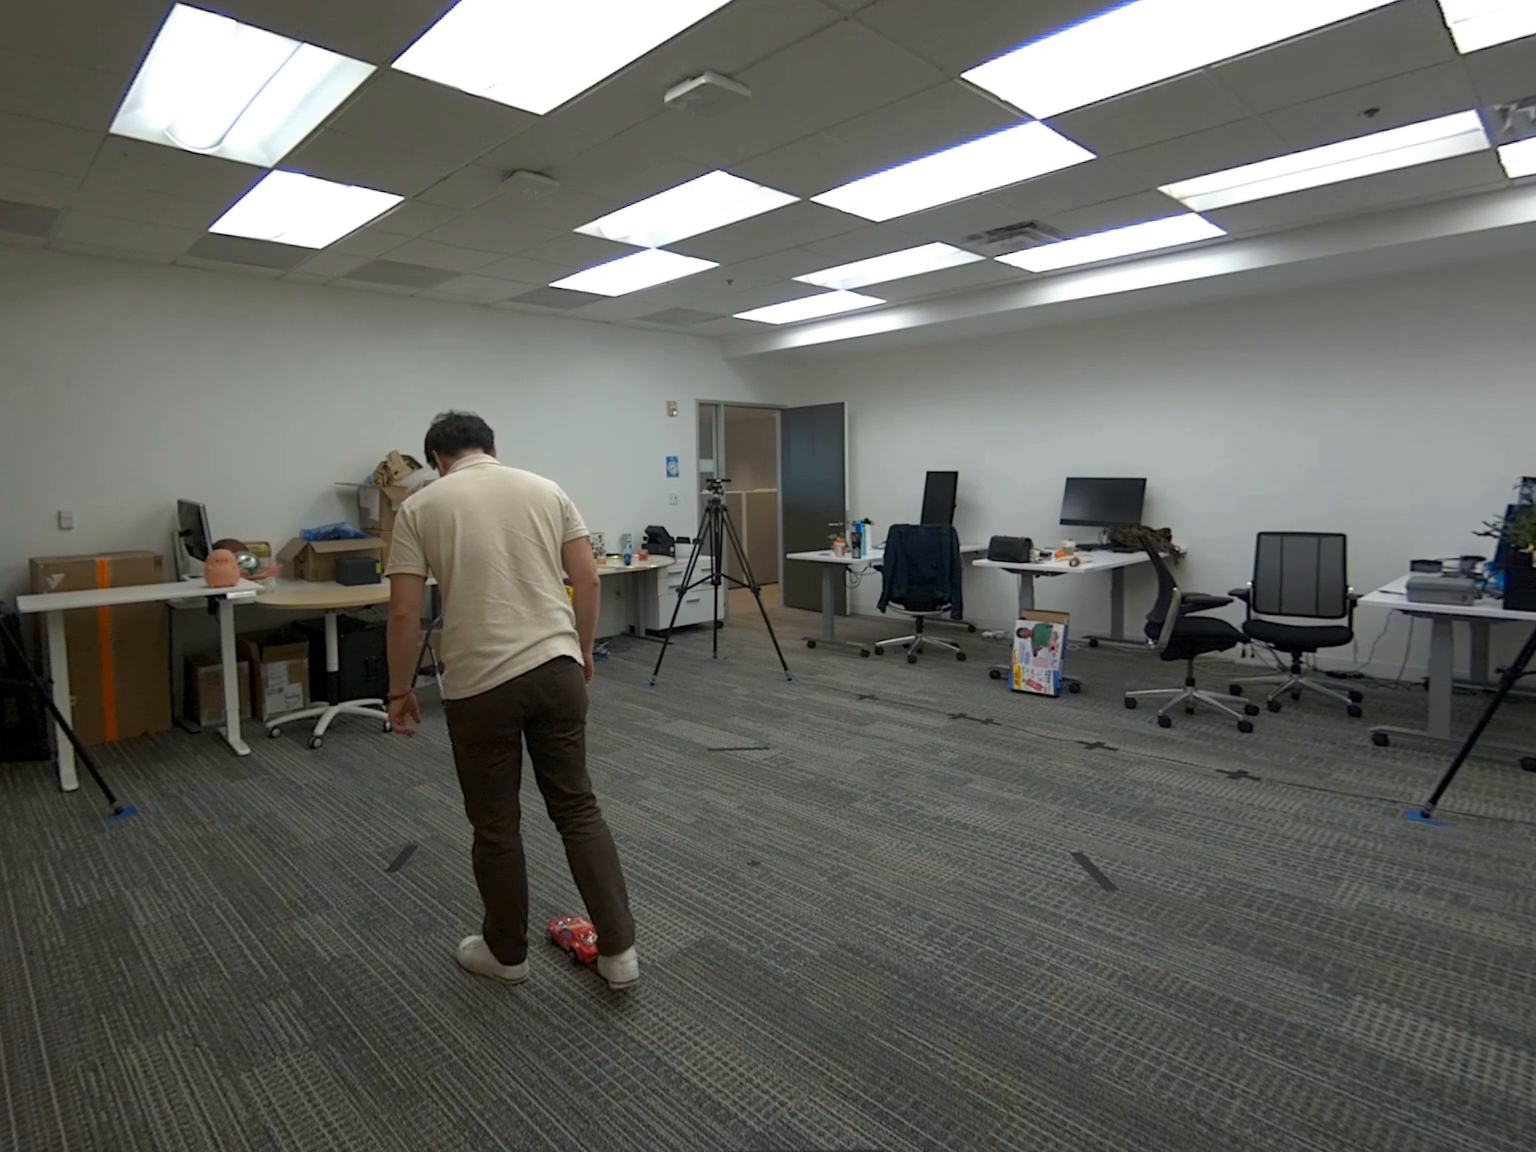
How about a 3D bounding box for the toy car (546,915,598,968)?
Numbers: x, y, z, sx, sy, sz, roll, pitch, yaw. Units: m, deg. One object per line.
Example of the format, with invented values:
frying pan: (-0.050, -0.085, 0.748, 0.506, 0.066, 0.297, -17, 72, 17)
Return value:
toy car: (-0.557, 1.084, 2.552, 0.127, 0.083, 0.260, -7, -2, -41)
